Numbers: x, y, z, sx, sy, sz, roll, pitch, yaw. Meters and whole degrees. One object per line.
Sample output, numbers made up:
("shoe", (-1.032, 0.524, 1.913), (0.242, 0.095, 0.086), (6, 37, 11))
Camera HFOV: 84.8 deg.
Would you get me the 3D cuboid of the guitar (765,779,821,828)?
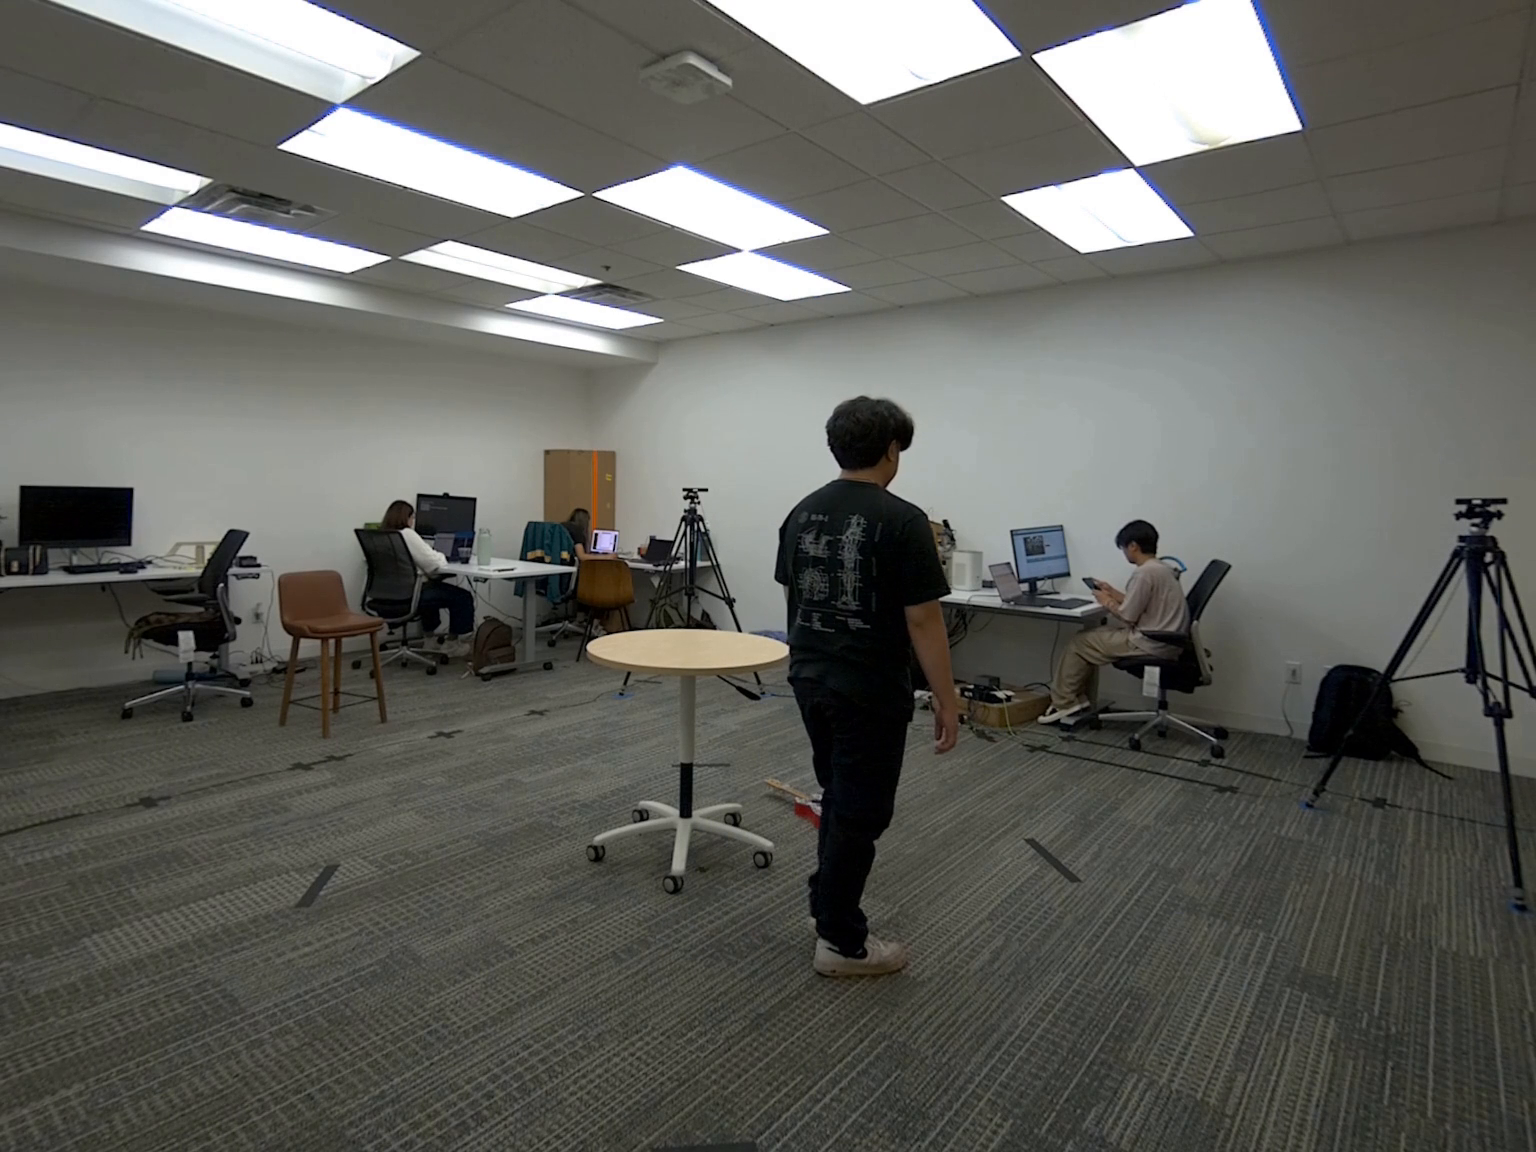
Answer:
("guitar", (0.175, 0.983, 3.731), (0.188, 0.070, 0.513), (-2, 7, -30))
